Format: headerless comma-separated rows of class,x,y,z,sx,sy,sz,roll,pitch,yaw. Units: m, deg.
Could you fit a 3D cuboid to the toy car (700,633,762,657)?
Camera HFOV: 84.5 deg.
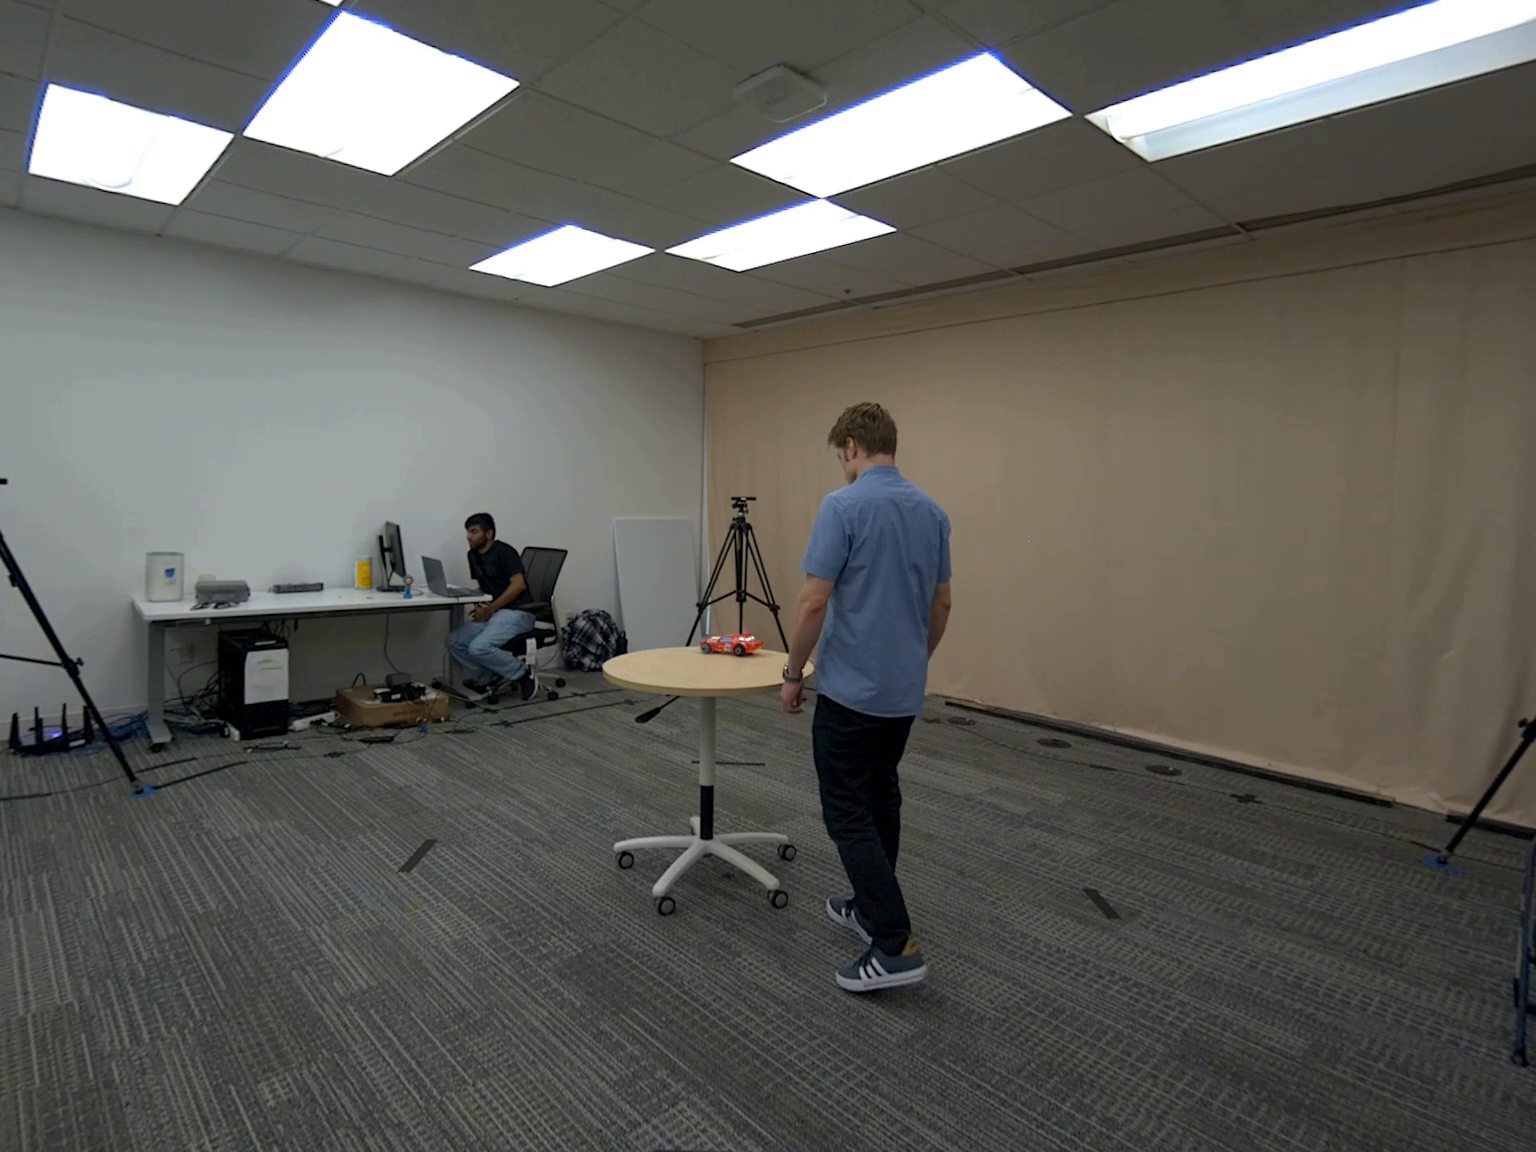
toy car,-0.147,0.275,3.290,0.258,0.083,0.128,-9,0,24
